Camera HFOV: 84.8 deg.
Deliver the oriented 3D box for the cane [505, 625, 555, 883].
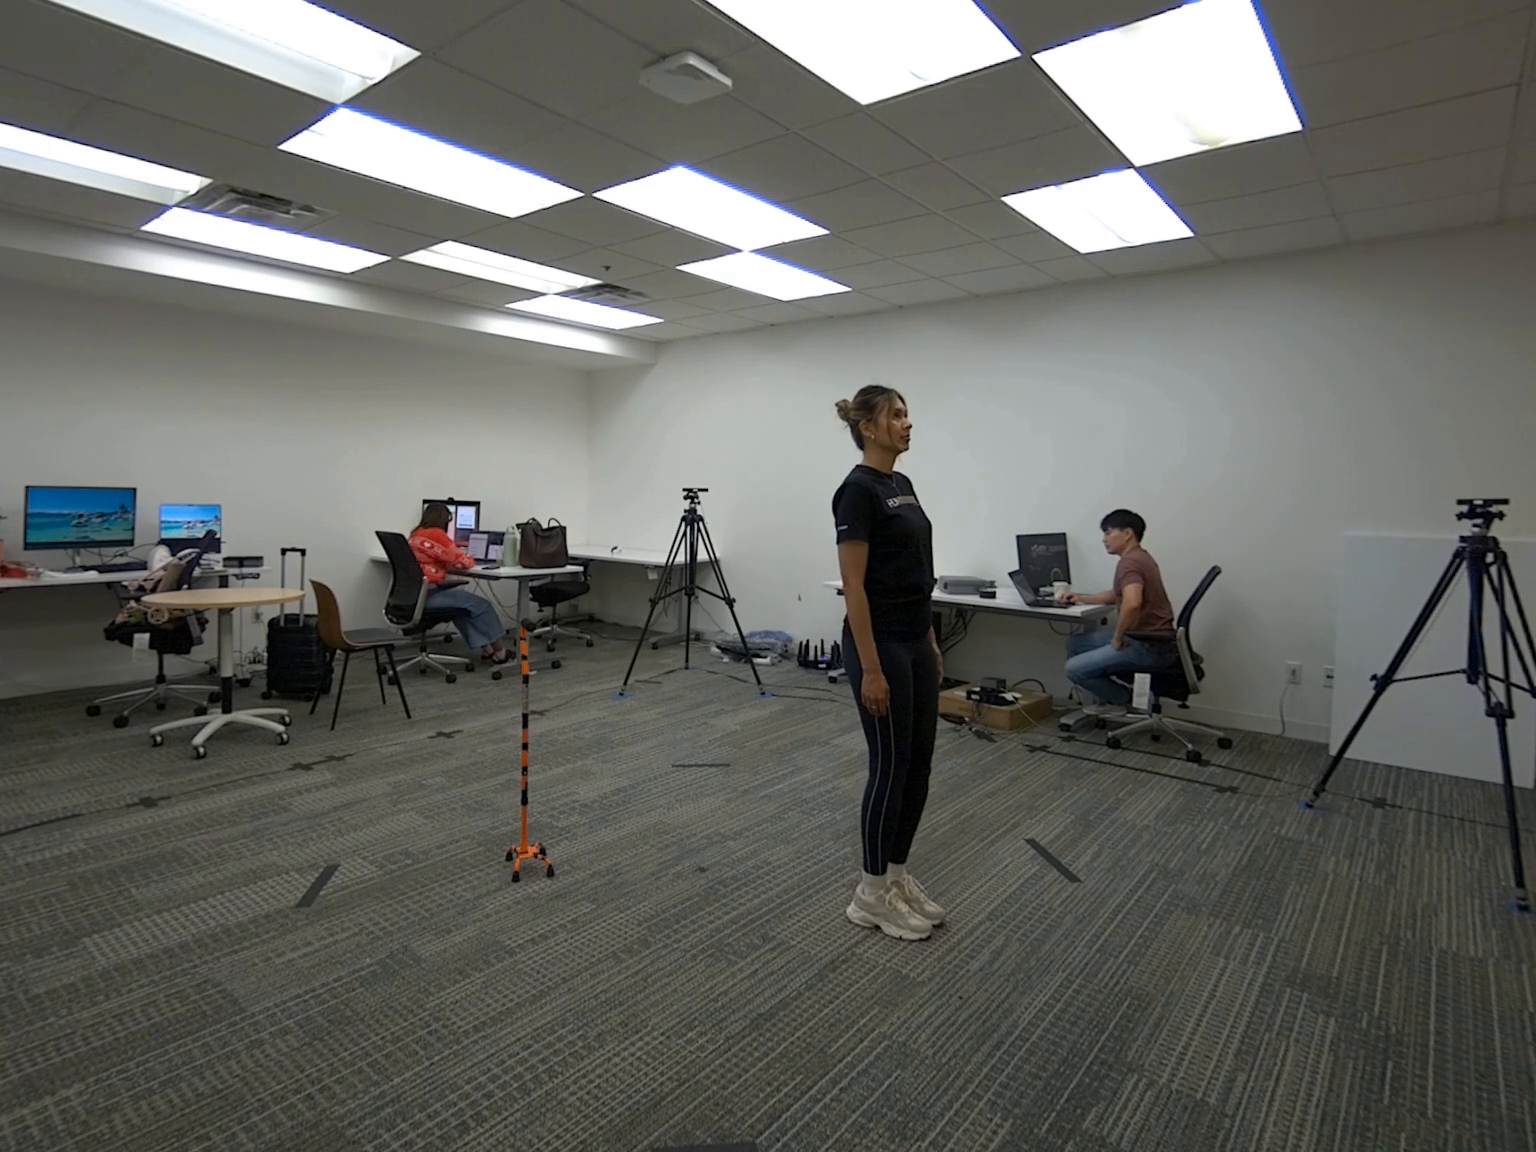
[{"bbox_3d":[-0.874,0.609,3.070,0.148,0.905,0.211,0,3,-22],"label":"cane"}]
